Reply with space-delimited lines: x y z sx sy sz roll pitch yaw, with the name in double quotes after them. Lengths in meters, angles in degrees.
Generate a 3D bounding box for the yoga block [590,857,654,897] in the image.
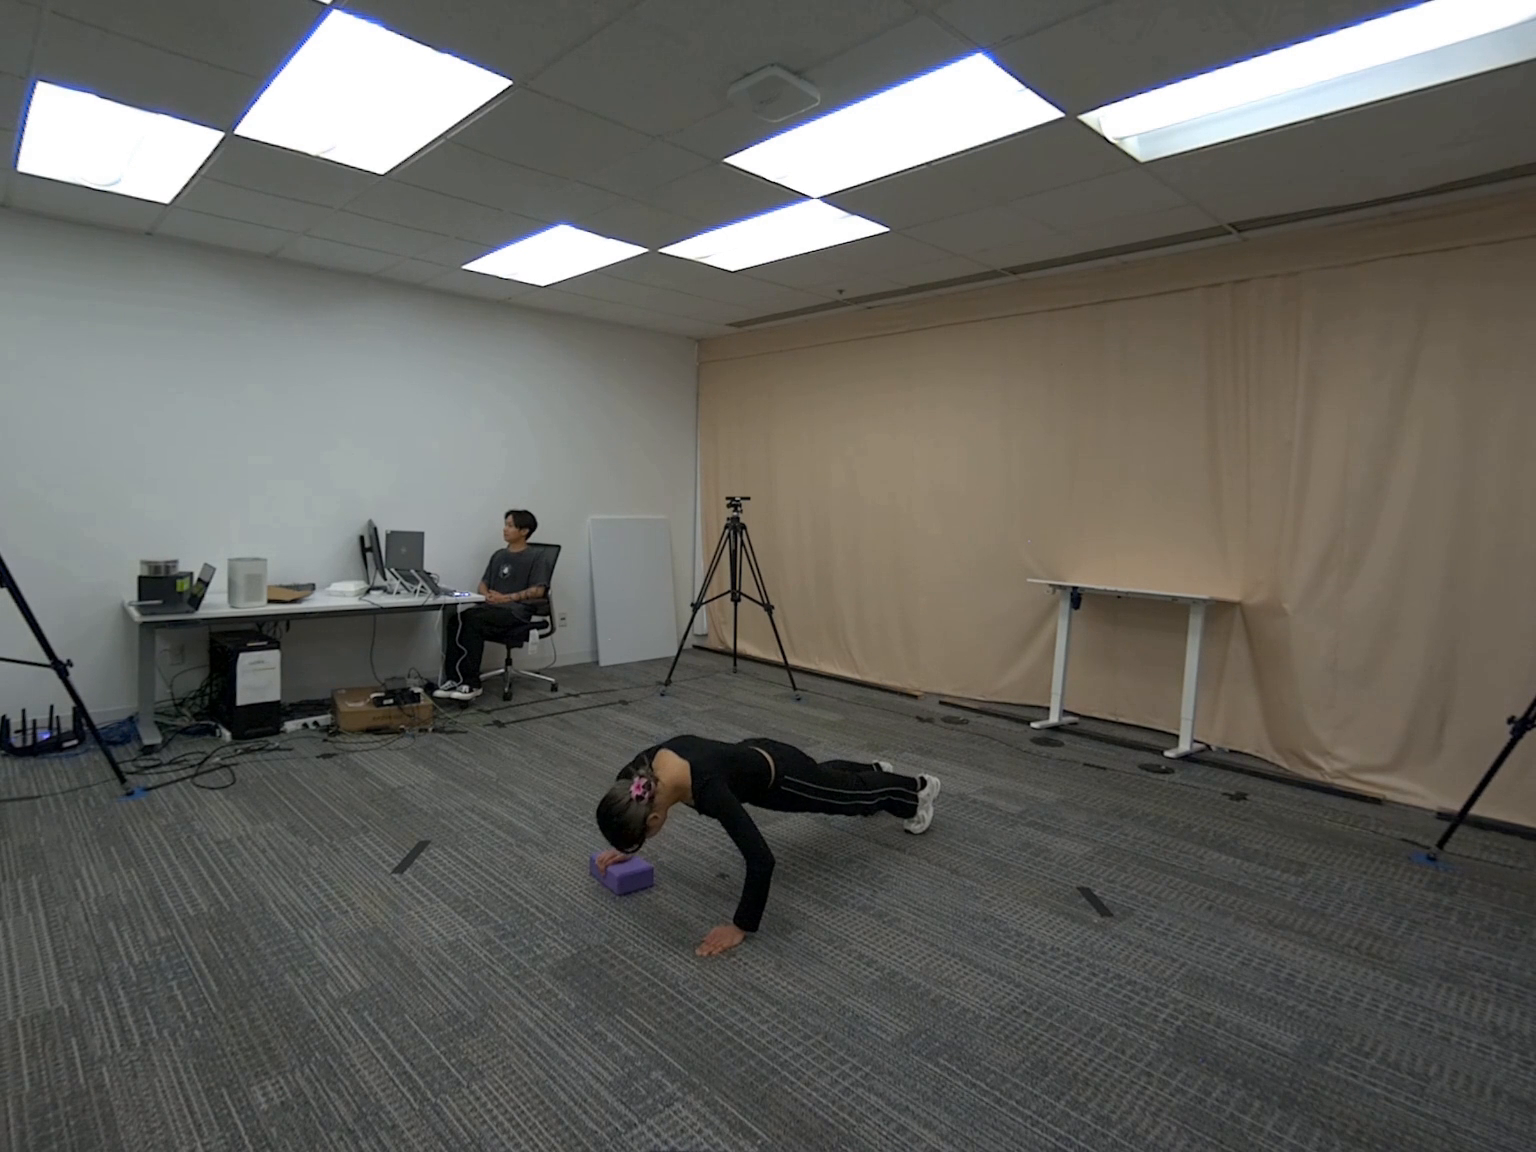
-0.537 1.066 3.049 0.146 0.076 0.235 -2 5 -37 "yoga block"
